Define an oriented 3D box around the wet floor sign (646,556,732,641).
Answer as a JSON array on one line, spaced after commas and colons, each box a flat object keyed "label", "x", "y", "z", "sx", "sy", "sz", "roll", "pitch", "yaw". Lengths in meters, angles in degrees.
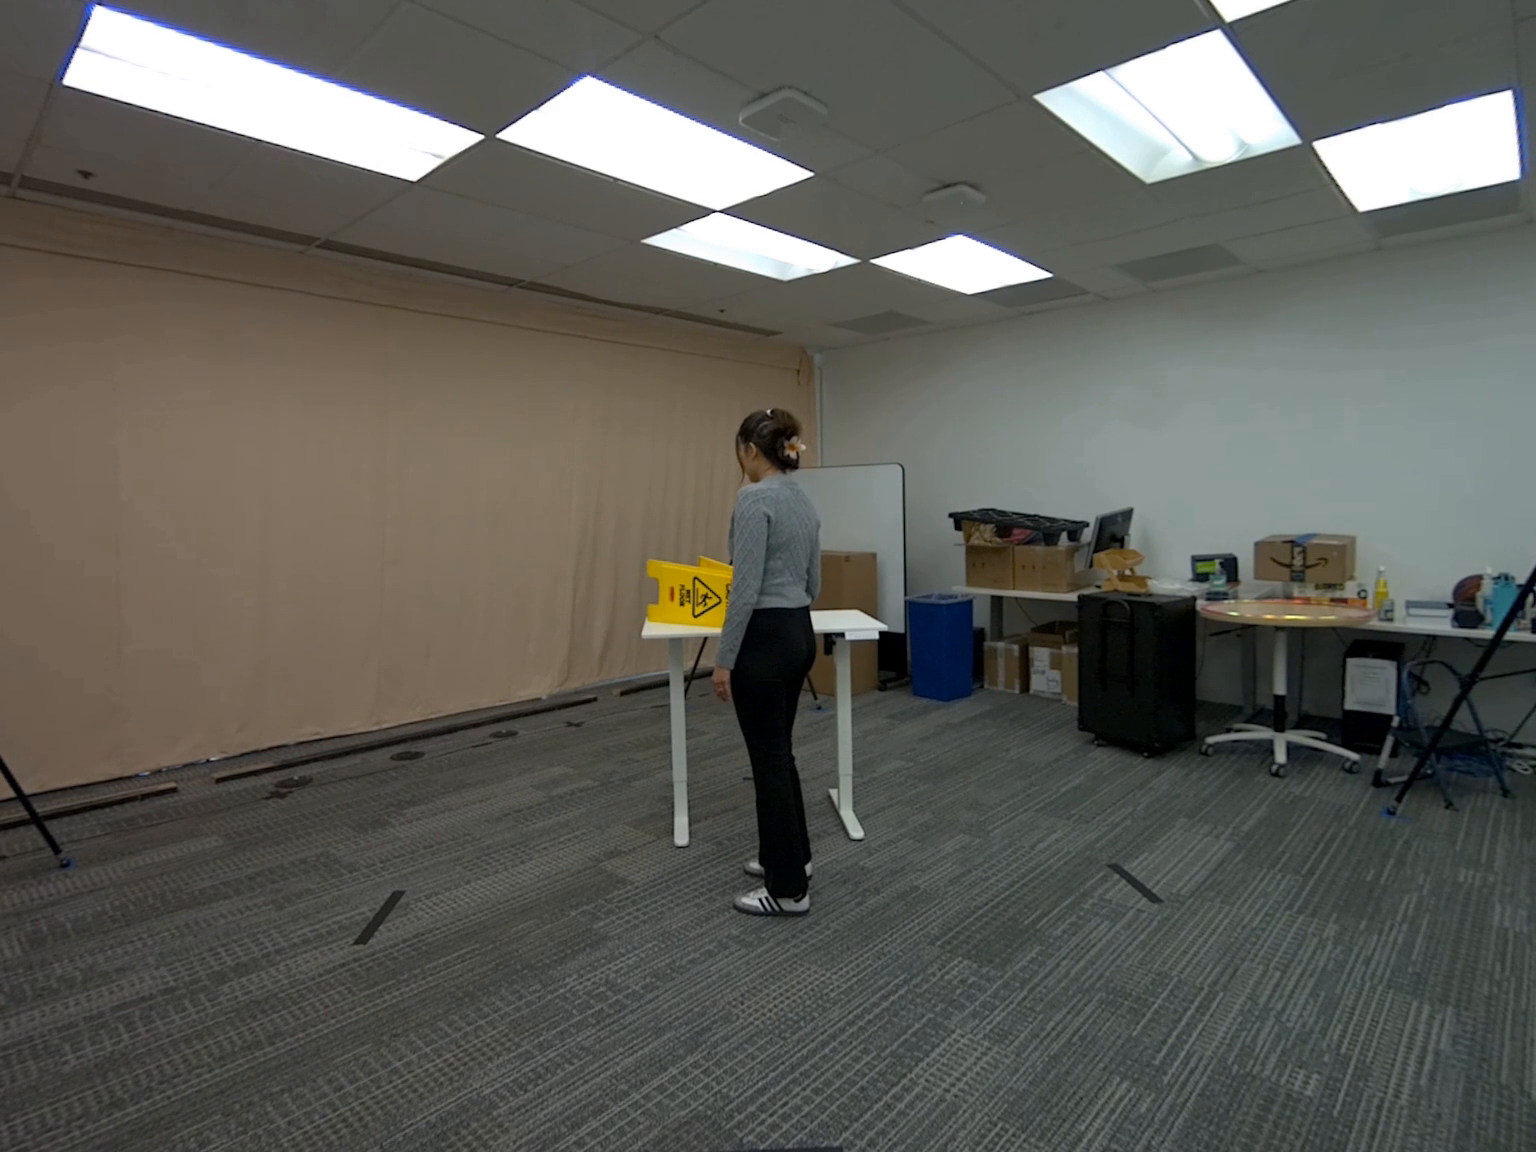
[{"label": "wet floor sign", "x": -0.223, "y": 0.087, "z": 3.627, "sx": 0.281, "sy": 0.281, "sz": 0.668, "roll": -4, "pitch": 7, "yaw": -39}]
